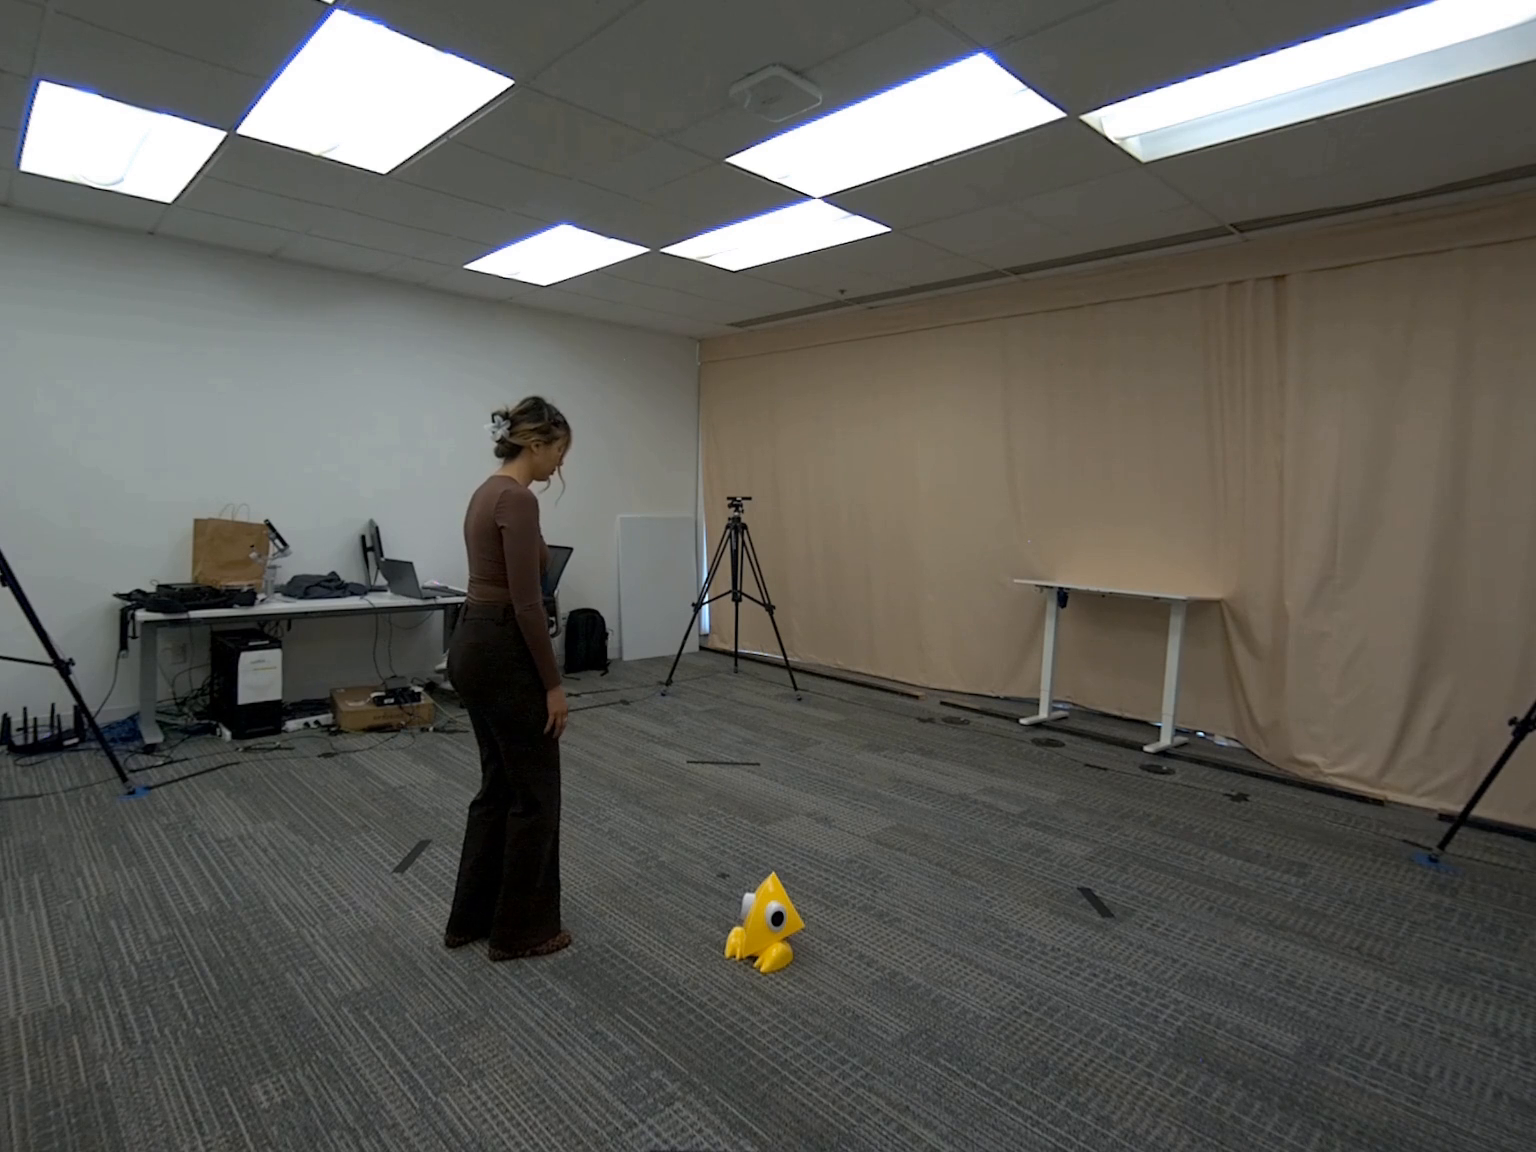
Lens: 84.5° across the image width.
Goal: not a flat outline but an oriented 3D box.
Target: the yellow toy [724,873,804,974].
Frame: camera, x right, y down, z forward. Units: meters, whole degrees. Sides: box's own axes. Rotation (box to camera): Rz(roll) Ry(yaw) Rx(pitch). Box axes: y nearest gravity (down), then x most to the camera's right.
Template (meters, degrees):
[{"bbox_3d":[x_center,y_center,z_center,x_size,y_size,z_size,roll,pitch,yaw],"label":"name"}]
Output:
[{"bbox_3d":[-0.025,1.045,2.576,0.210,0.230,0.189,5,4,34],"label":"yellow toy"}]
